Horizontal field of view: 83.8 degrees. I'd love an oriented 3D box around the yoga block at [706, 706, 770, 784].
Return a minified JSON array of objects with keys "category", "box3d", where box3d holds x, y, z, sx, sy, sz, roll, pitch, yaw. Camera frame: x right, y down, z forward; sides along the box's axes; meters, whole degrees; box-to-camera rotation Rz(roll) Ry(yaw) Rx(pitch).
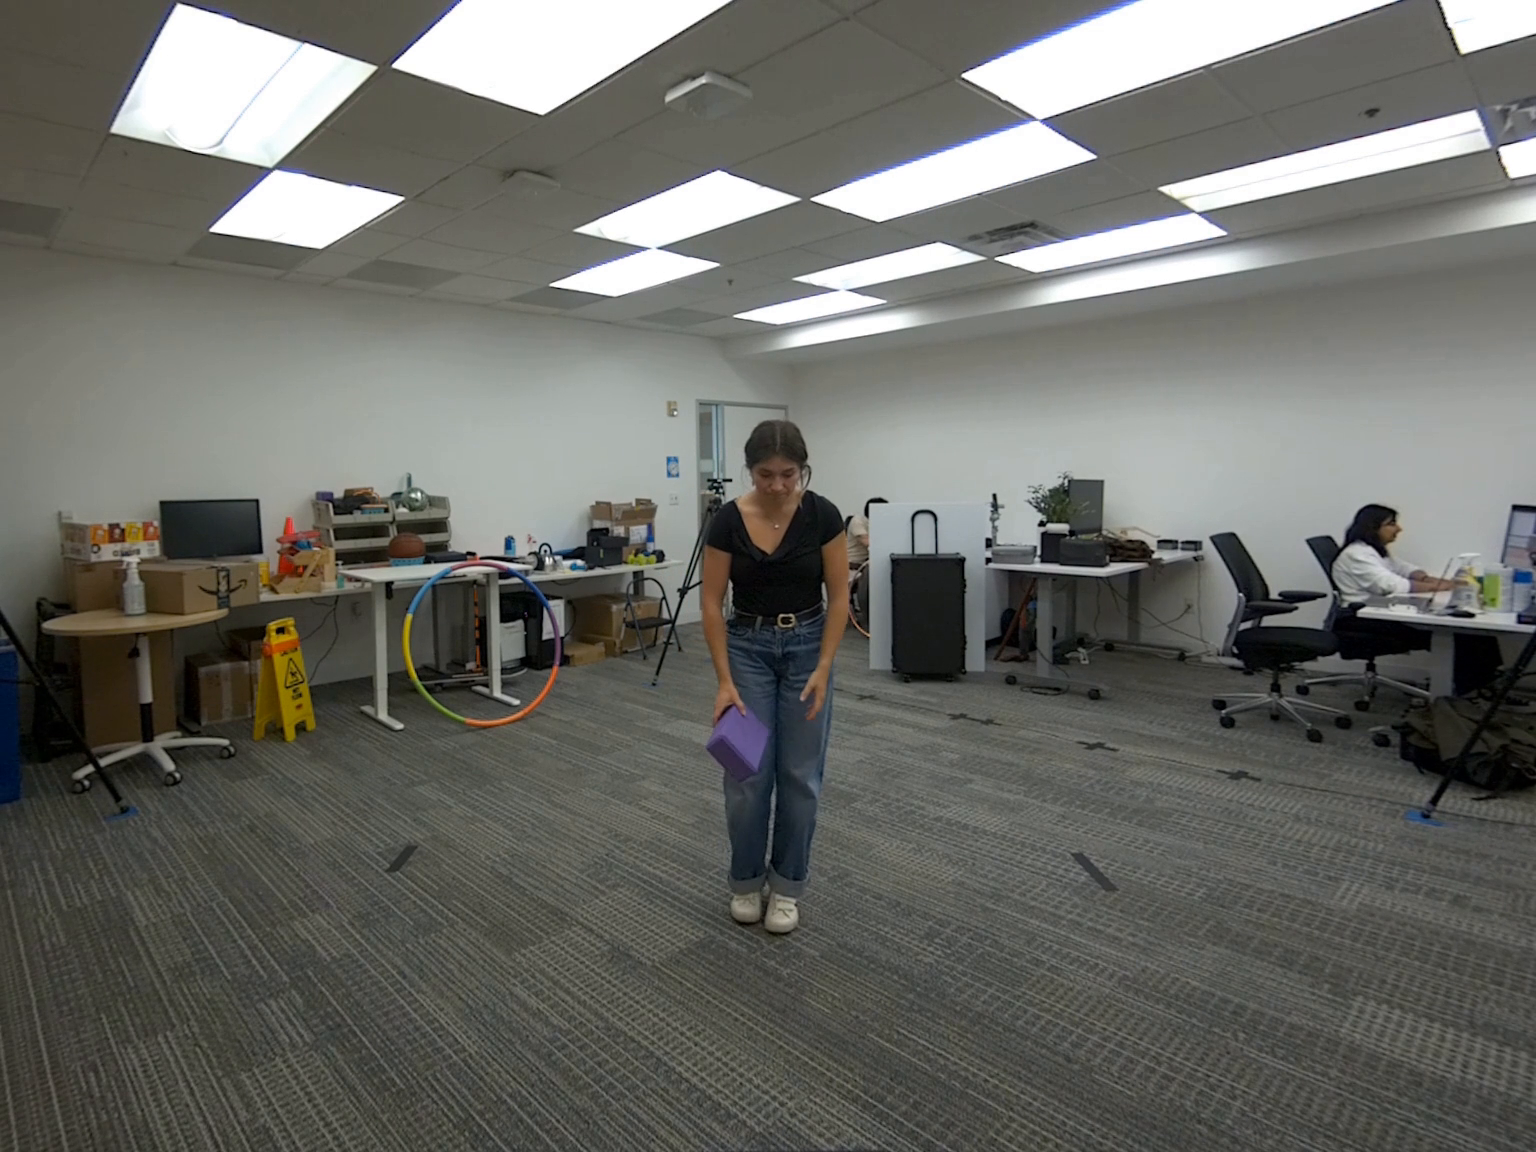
[{"category":"yoga block","box3d":[-0.066,0.474,2.493,0.076,0.148,0.230,-41,7,20]}]
